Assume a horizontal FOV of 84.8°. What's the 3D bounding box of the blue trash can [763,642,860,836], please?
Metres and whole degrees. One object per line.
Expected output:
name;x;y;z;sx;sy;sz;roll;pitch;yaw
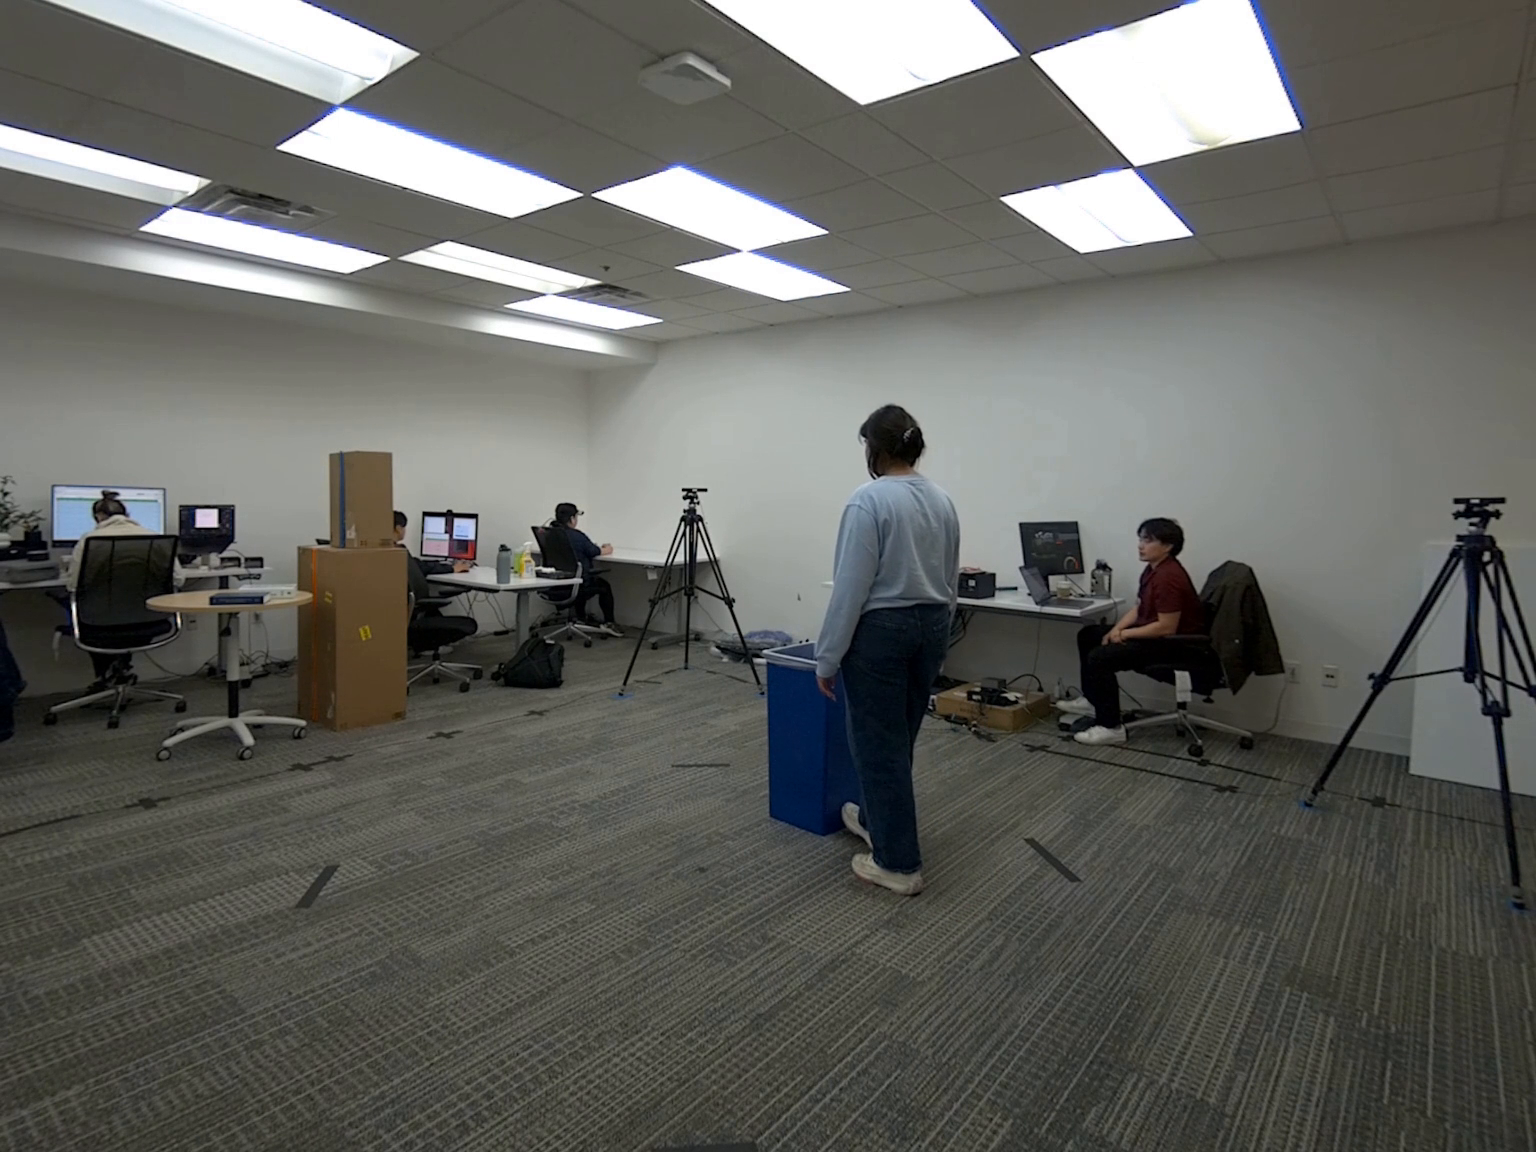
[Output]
blue trash can;0.197;0.670;3.621;0.387;0.711;0.367;5;6;43
